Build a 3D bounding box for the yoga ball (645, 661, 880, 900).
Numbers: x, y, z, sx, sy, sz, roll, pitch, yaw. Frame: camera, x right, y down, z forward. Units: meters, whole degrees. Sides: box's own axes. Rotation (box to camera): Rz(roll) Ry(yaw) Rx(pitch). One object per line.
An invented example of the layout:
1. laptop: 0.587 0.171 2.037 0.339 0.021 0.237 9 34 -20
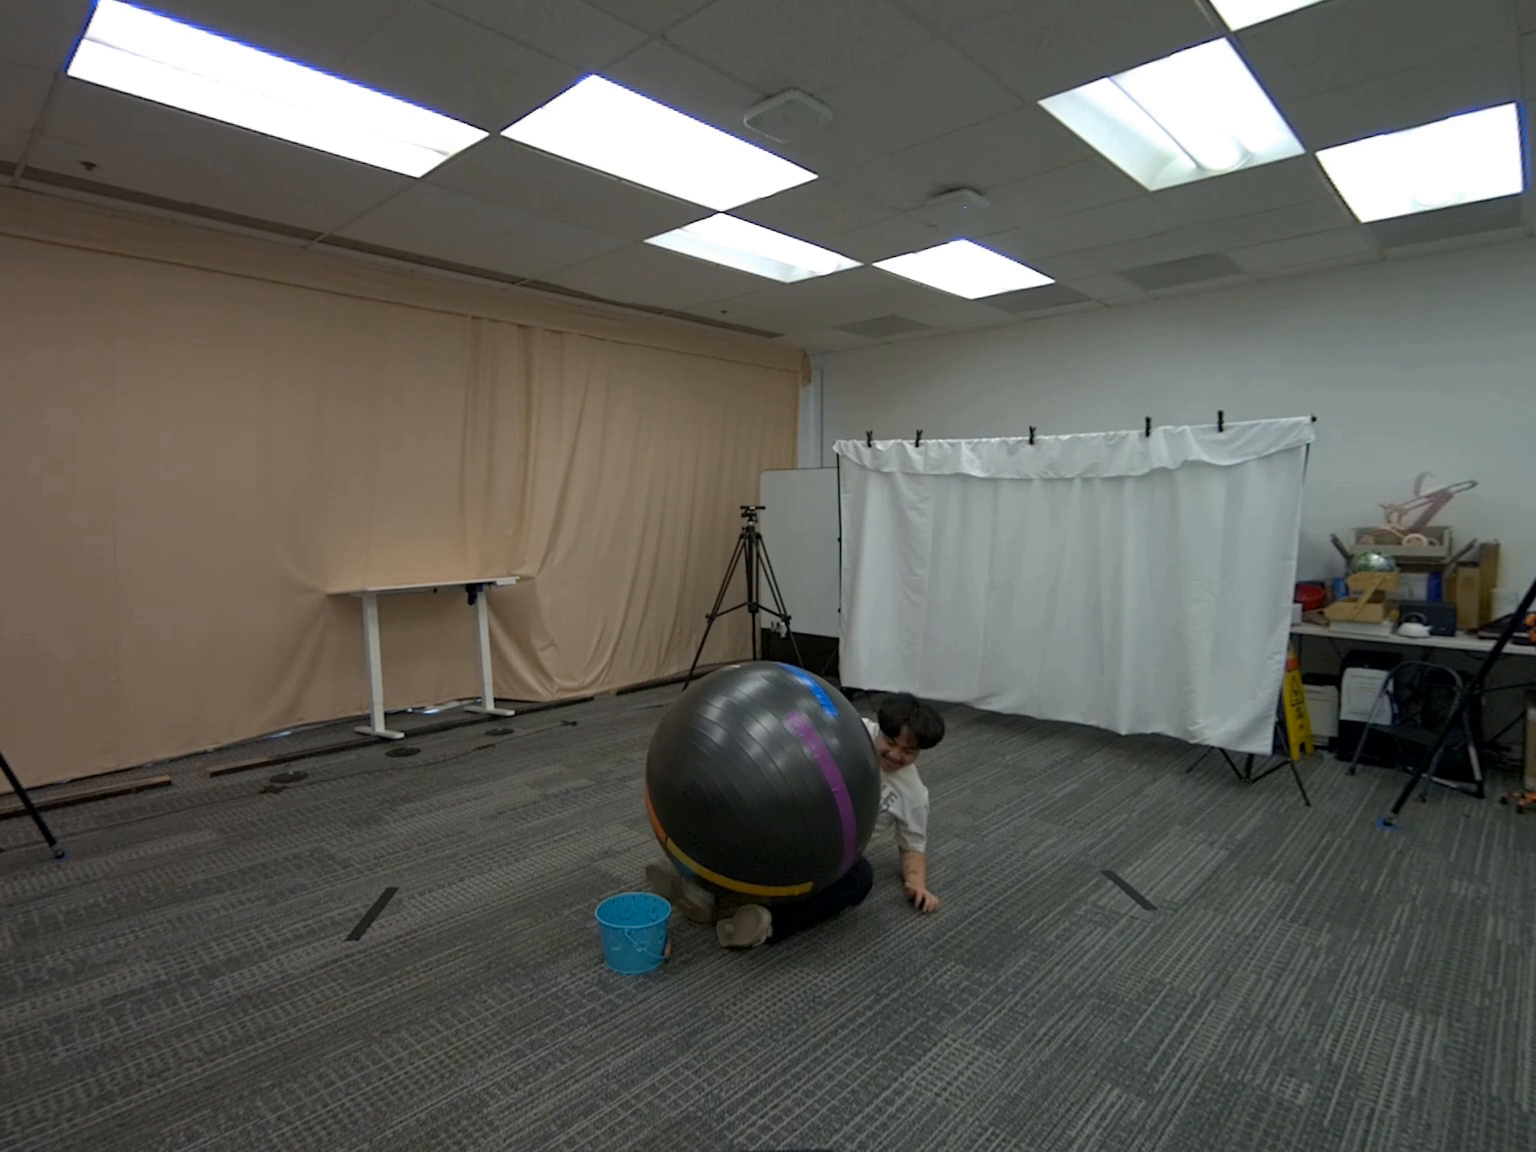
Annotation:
1. yoga ball: -0.013 0.656 2.717 0.757 0.756 0.760 0 4 -2
